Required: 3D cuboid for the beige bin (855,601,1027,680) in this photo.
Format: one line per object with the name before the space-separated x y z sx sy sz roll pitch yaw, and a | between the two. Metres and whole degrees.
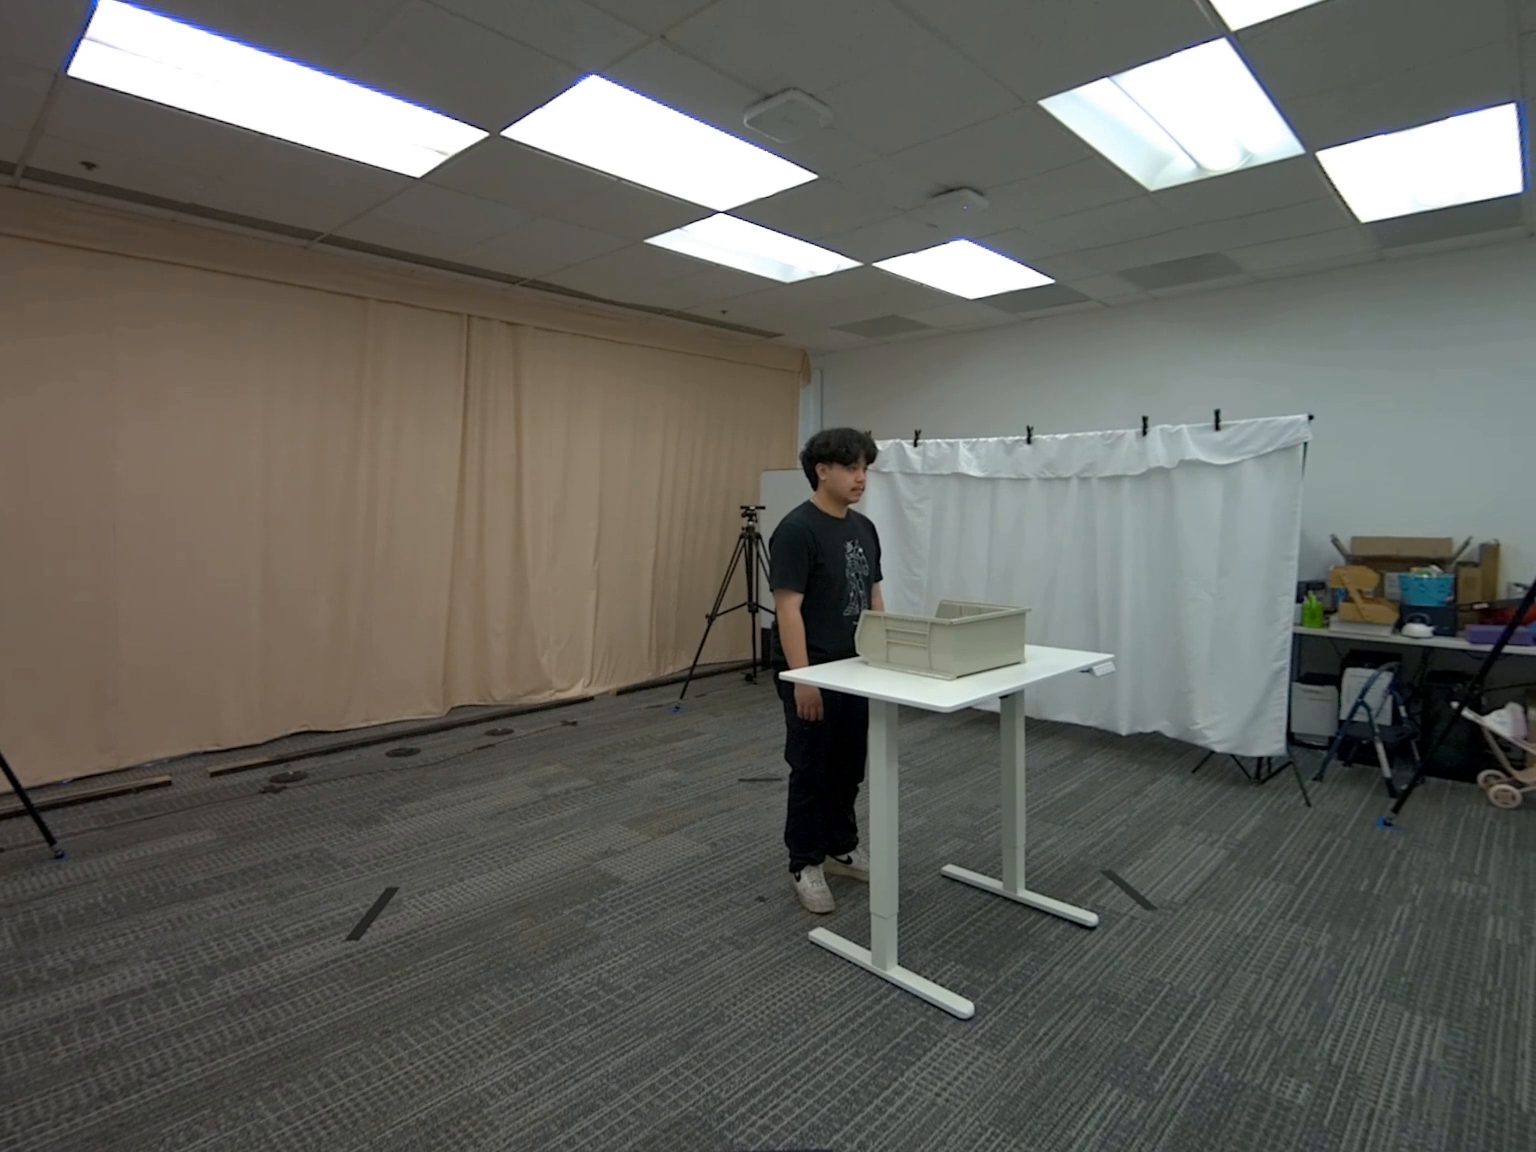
beige bin | 0.566 0.196 2.700 0.409 0.188 0.390 -4 6 -40
